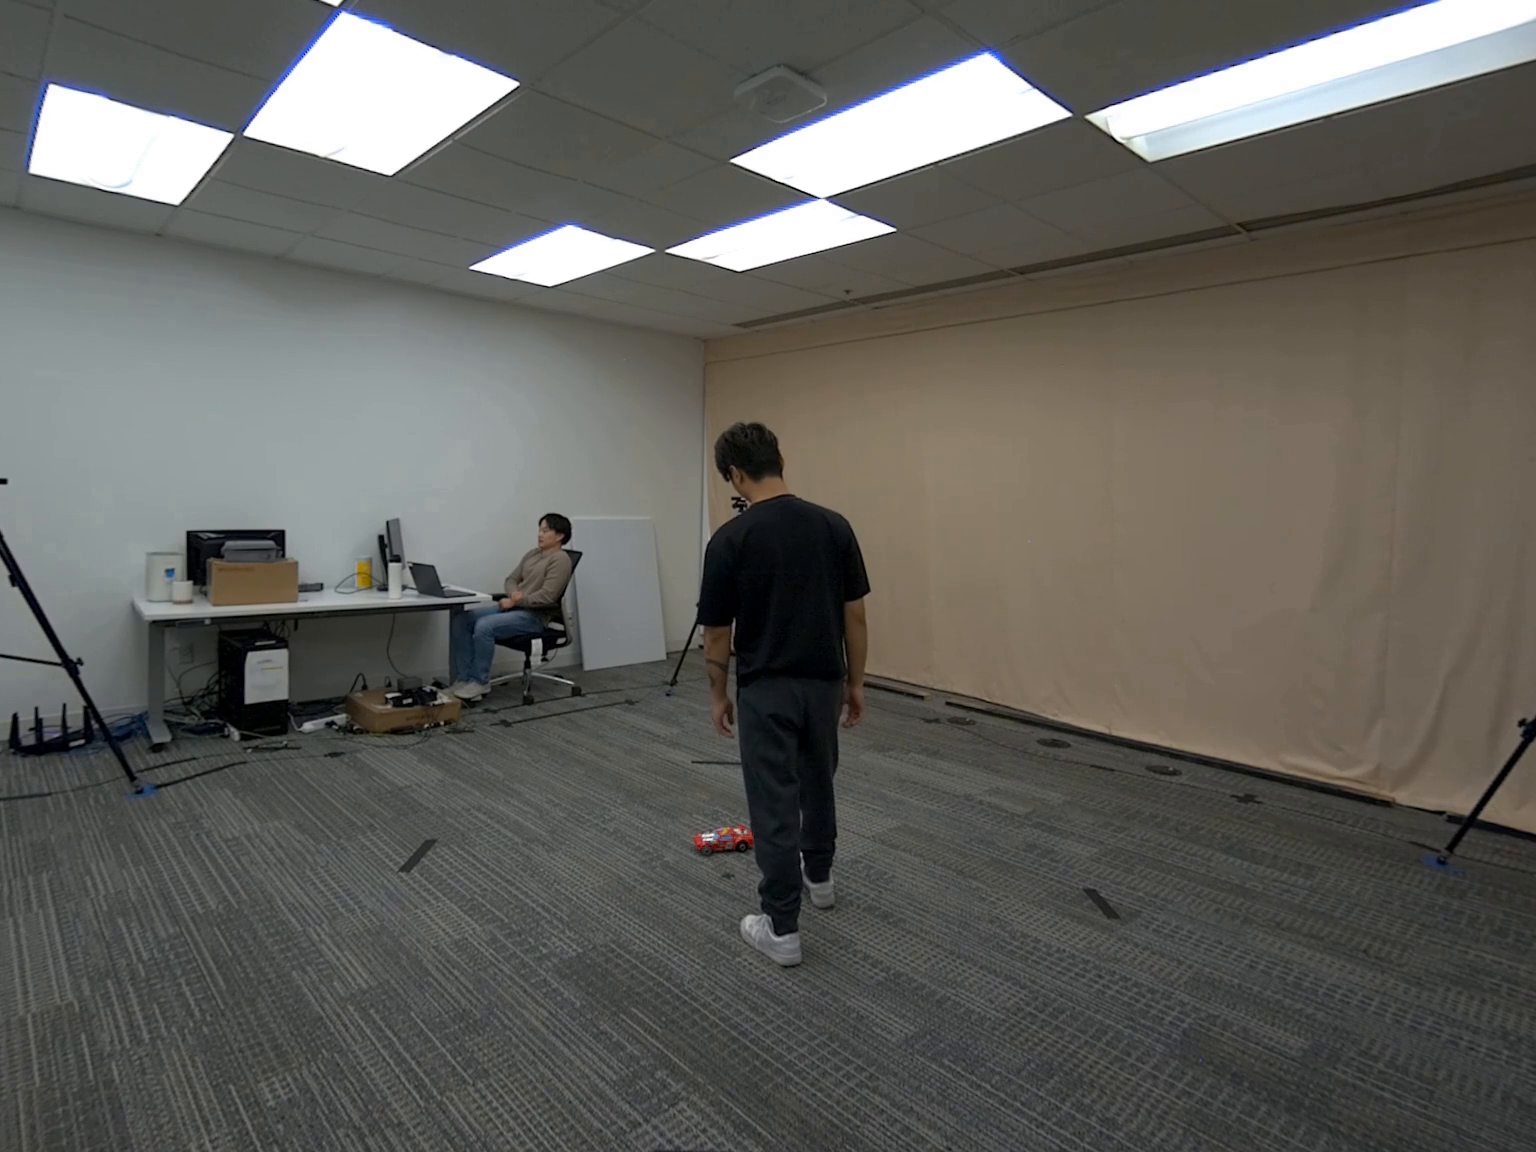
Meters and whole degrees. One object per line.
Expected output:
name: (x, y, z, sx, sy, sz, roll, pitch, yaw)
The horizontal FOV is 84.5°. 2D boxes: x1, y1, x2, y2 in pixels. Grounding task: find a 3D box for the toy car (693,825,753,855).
toy car: (-0.171, 1.056, 3.352, 0.252, 0.083, 0.132, -11, 7, -15)
